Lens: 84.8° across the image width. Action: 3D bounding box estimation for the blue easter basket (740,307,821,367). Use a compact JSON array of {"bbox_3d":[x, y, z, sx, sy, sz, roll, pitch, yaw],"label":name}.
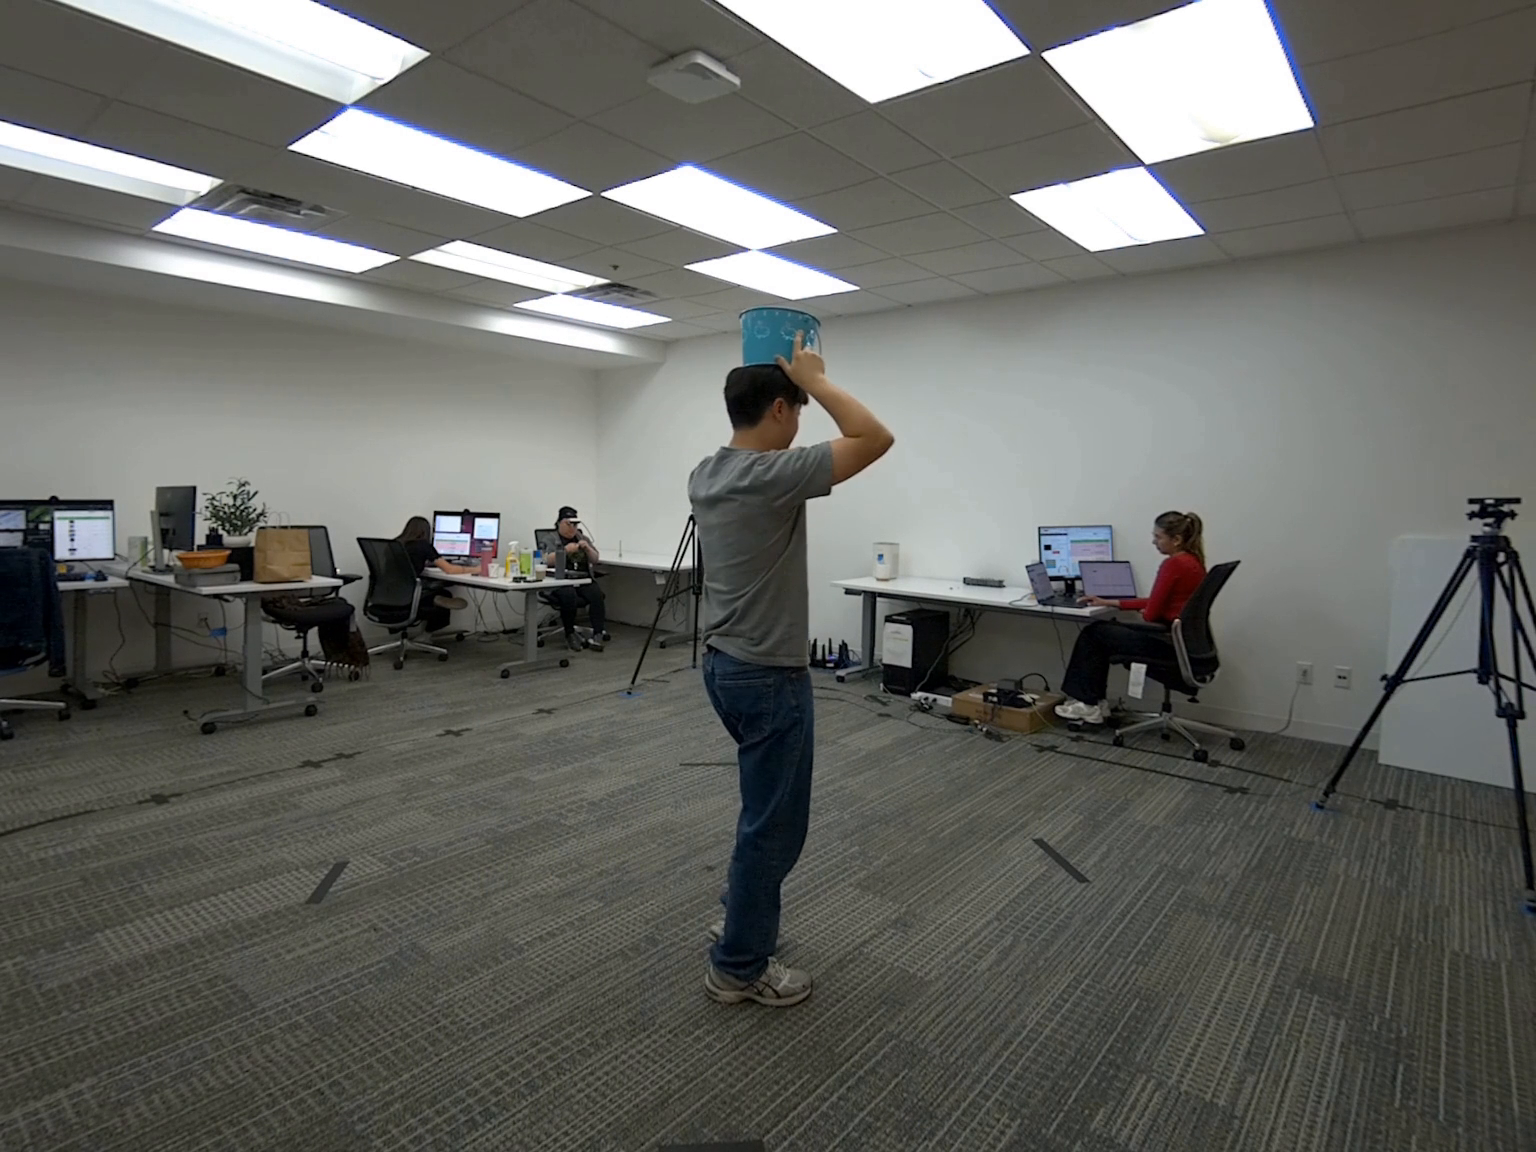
[{"bbox_3d":[0.016,-0.647,2.393,0.243,0.156,0.244,6,0,-2],"label":"blue easter basket"}]
